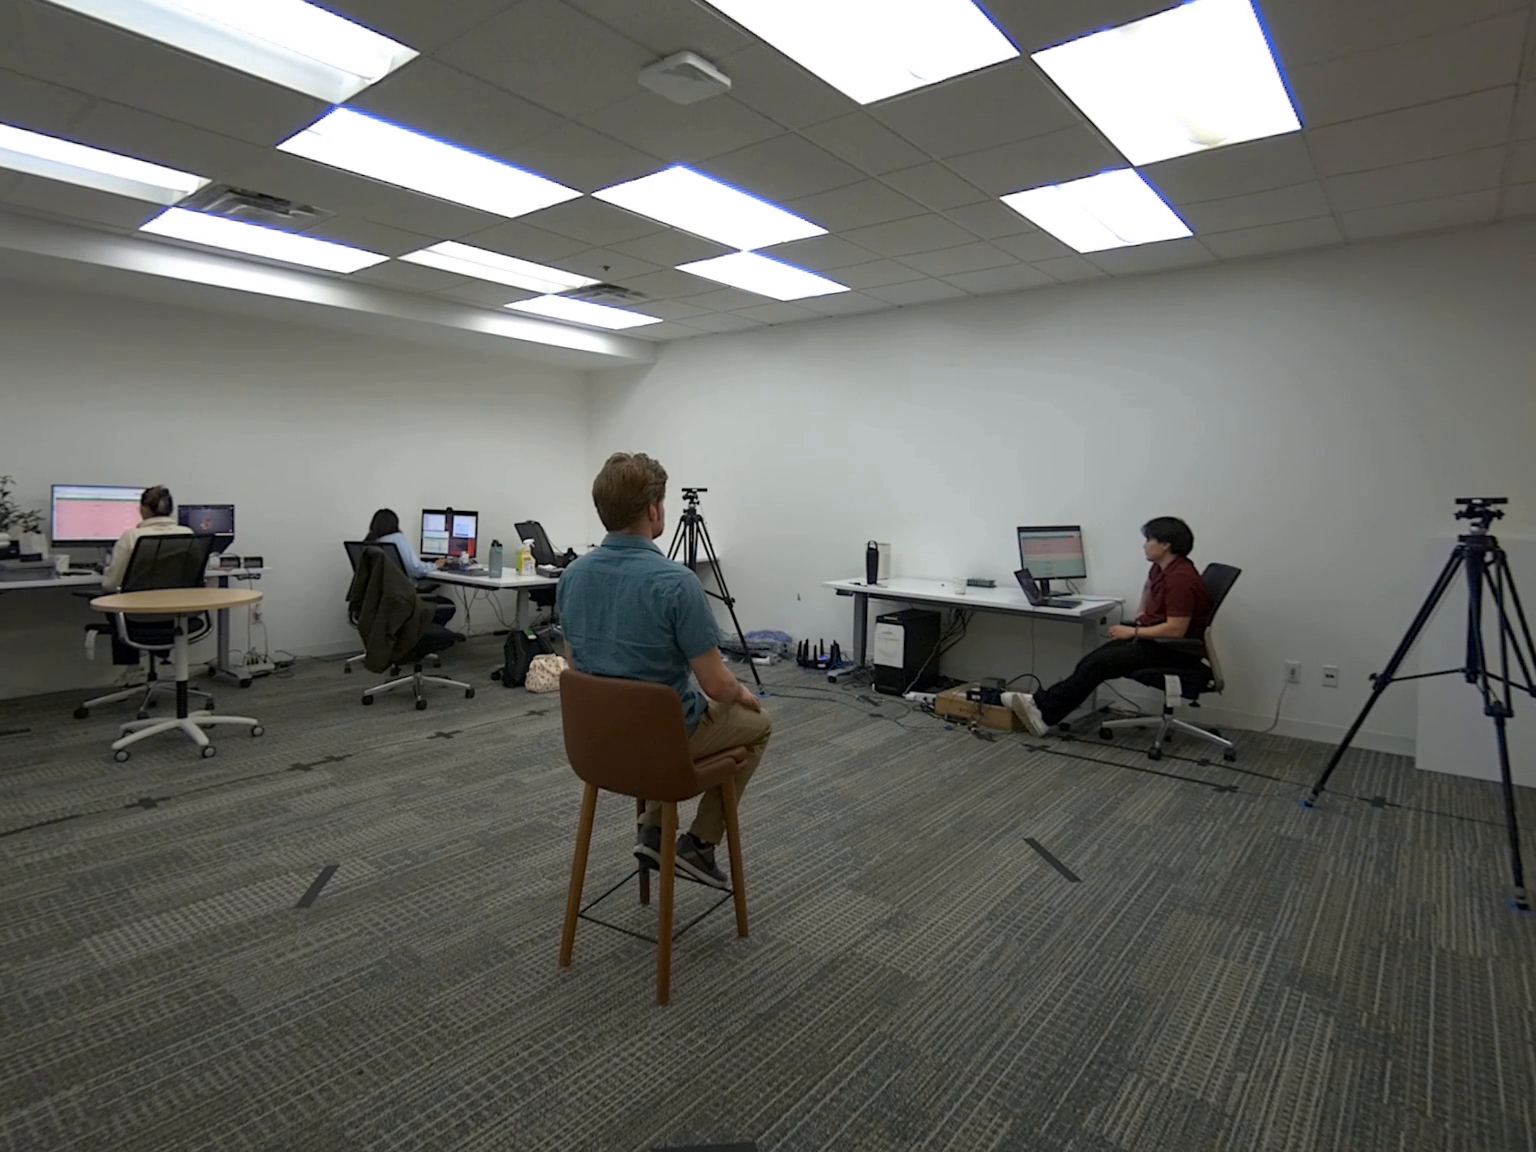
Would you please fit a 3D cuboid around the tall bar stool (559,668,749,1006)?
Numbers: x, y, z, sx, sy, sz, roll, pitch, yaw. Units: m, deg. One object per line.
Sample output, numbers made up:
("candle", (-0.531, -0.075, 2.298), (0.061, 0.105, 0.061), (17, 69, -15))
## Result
("tall bar stool", (-0.351, 0.686, 2.536), (0.470, 0.885, 0.456), (2, 6, 30))
